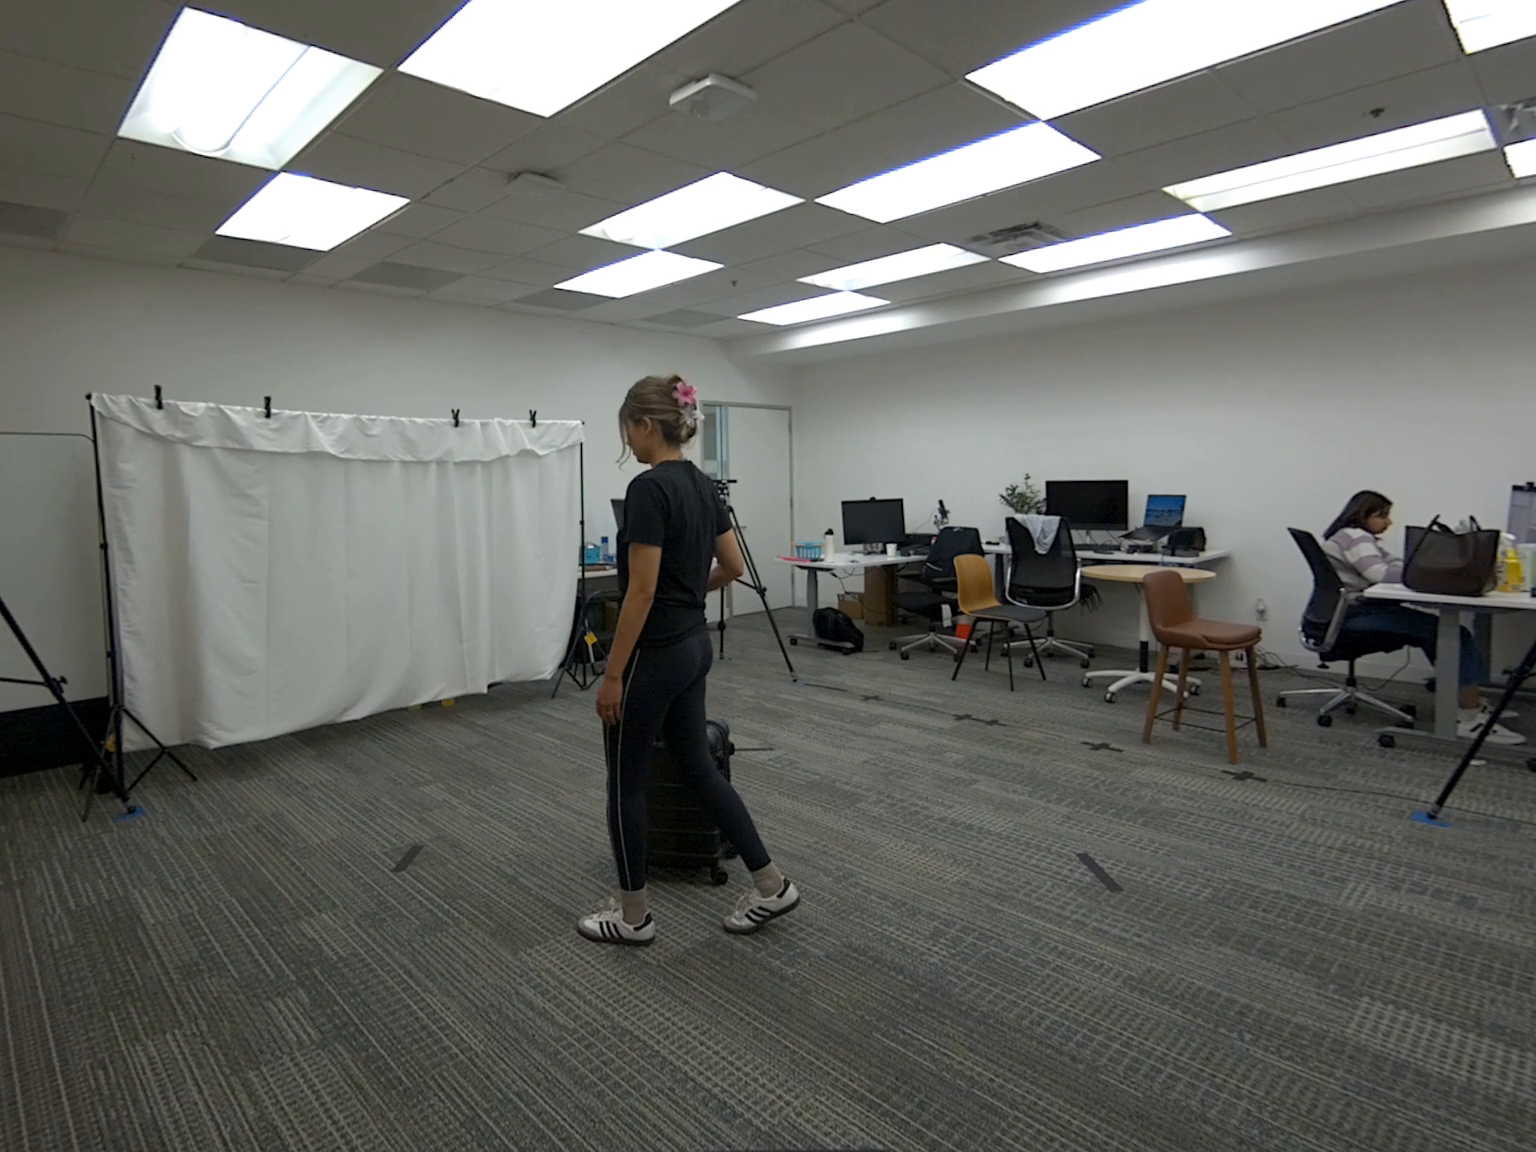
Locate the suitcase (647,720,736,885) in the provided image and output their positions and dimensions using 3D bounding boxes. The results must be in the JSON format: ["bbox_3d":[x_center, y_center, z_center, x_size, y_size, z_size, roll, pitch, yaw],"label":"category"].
[{"bbox_3d":[-0.321,0.580,3.082,0.388,0.978,0.254,-1,0,10],"label":"suitcase"}]
